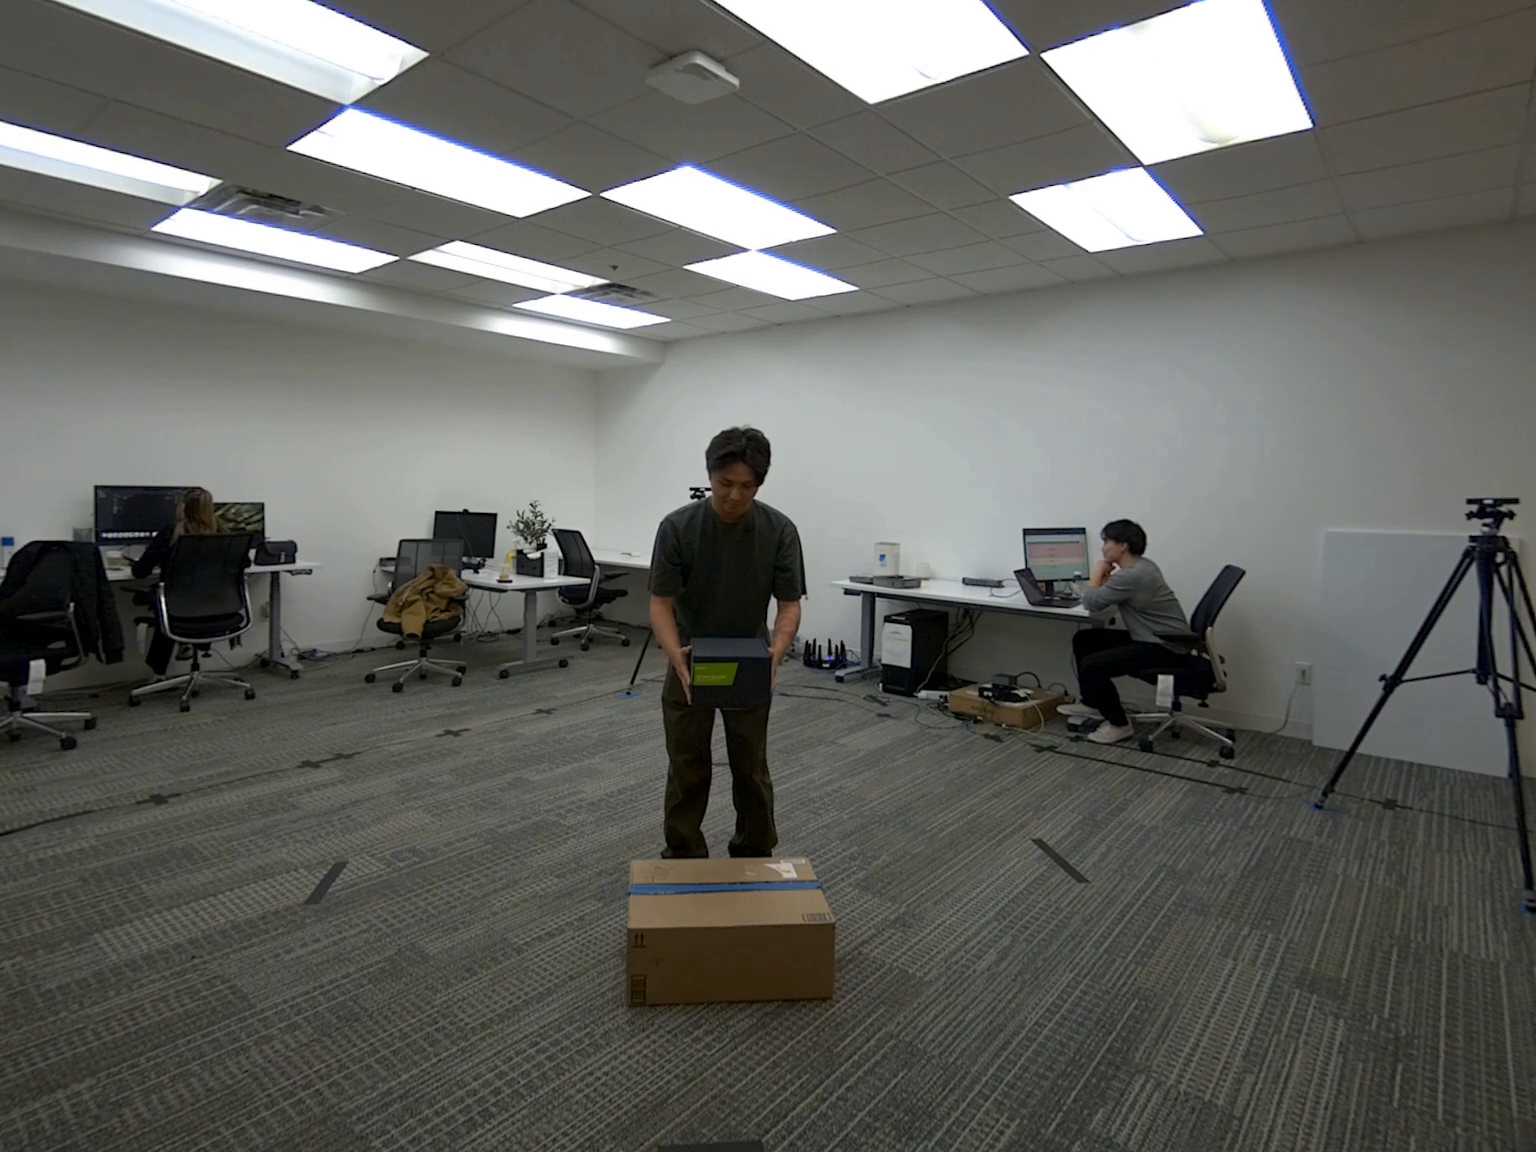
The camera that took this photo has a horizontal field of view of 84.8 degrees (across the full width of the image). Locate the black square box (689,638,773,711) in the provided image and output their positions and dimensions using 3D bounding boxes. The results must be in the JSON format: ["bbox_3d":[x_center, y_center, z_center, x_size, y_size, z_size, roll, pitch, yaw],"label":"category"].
[{"bbox_3d":[-0.129,0.285,2.545,0.227,0.155,0.220,3,8,-6],"label":"black square box"}]
